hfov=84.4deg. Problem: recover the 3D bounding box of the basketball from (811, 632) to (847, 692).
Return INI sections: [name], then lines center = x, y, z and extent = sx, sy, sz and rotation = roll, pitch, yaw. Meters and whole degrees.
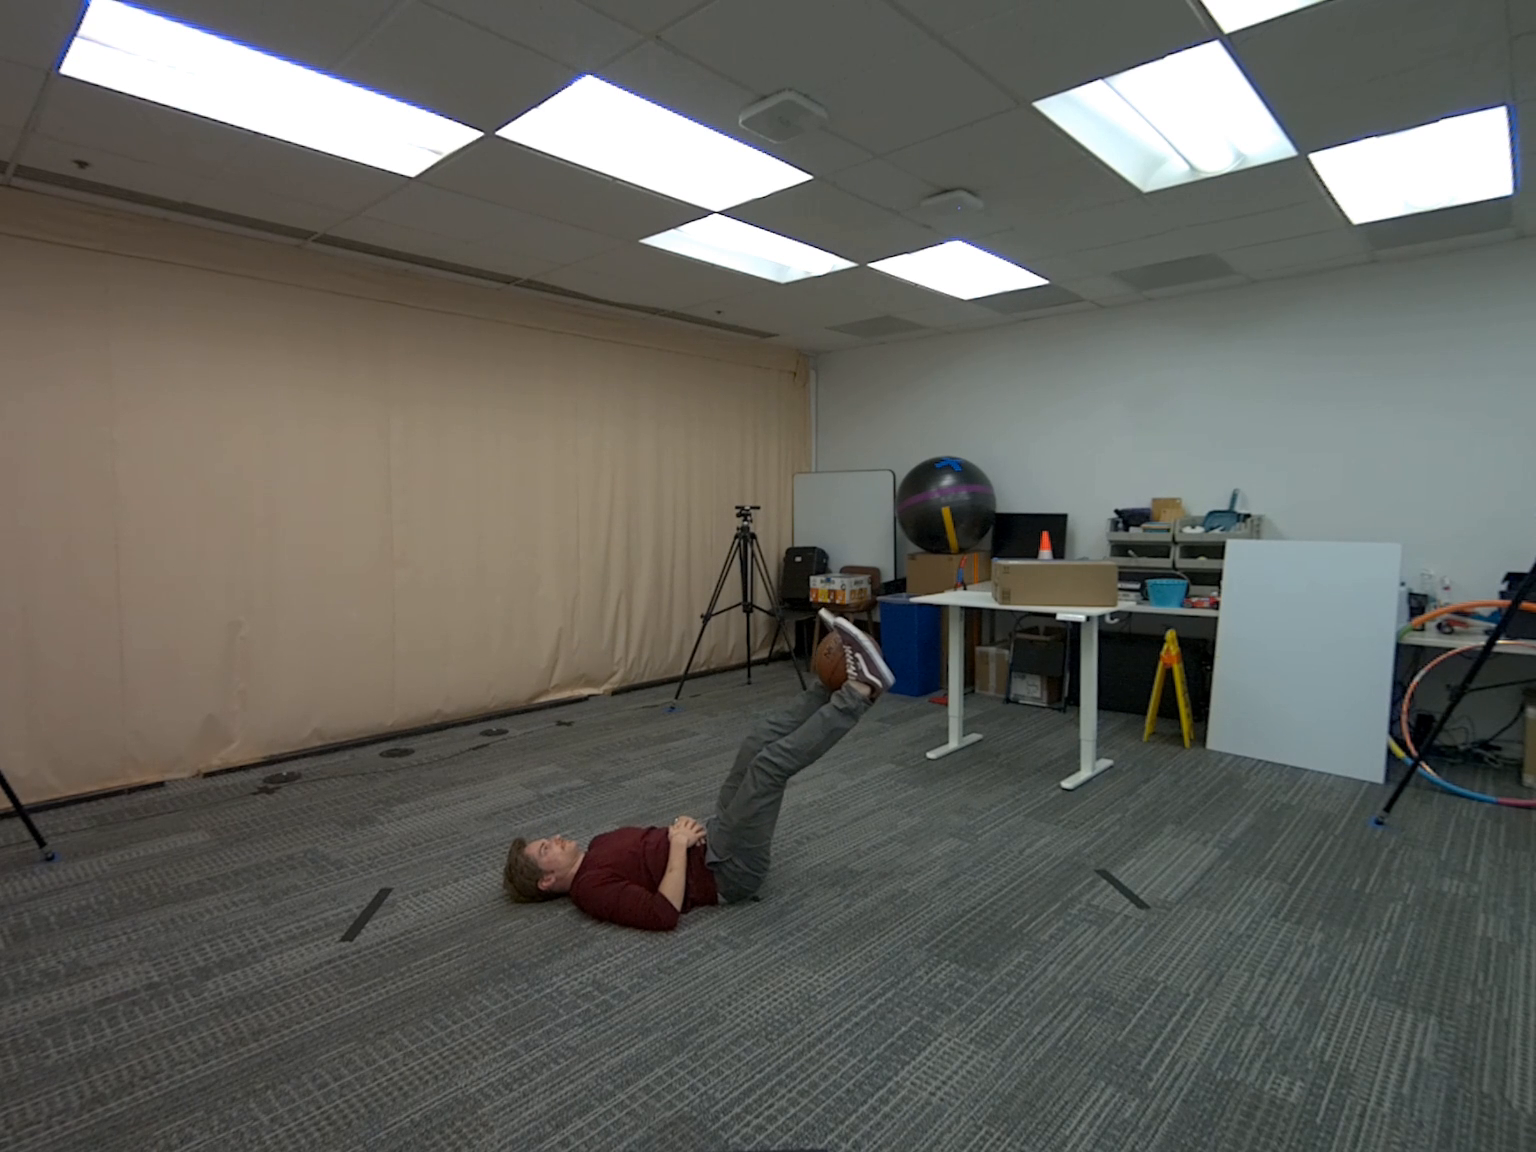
[basketball]
center = 0.289, 0.302, 2.980
extent = 0.235, 0.235, 0.237
rotation = 3, 5, -2
